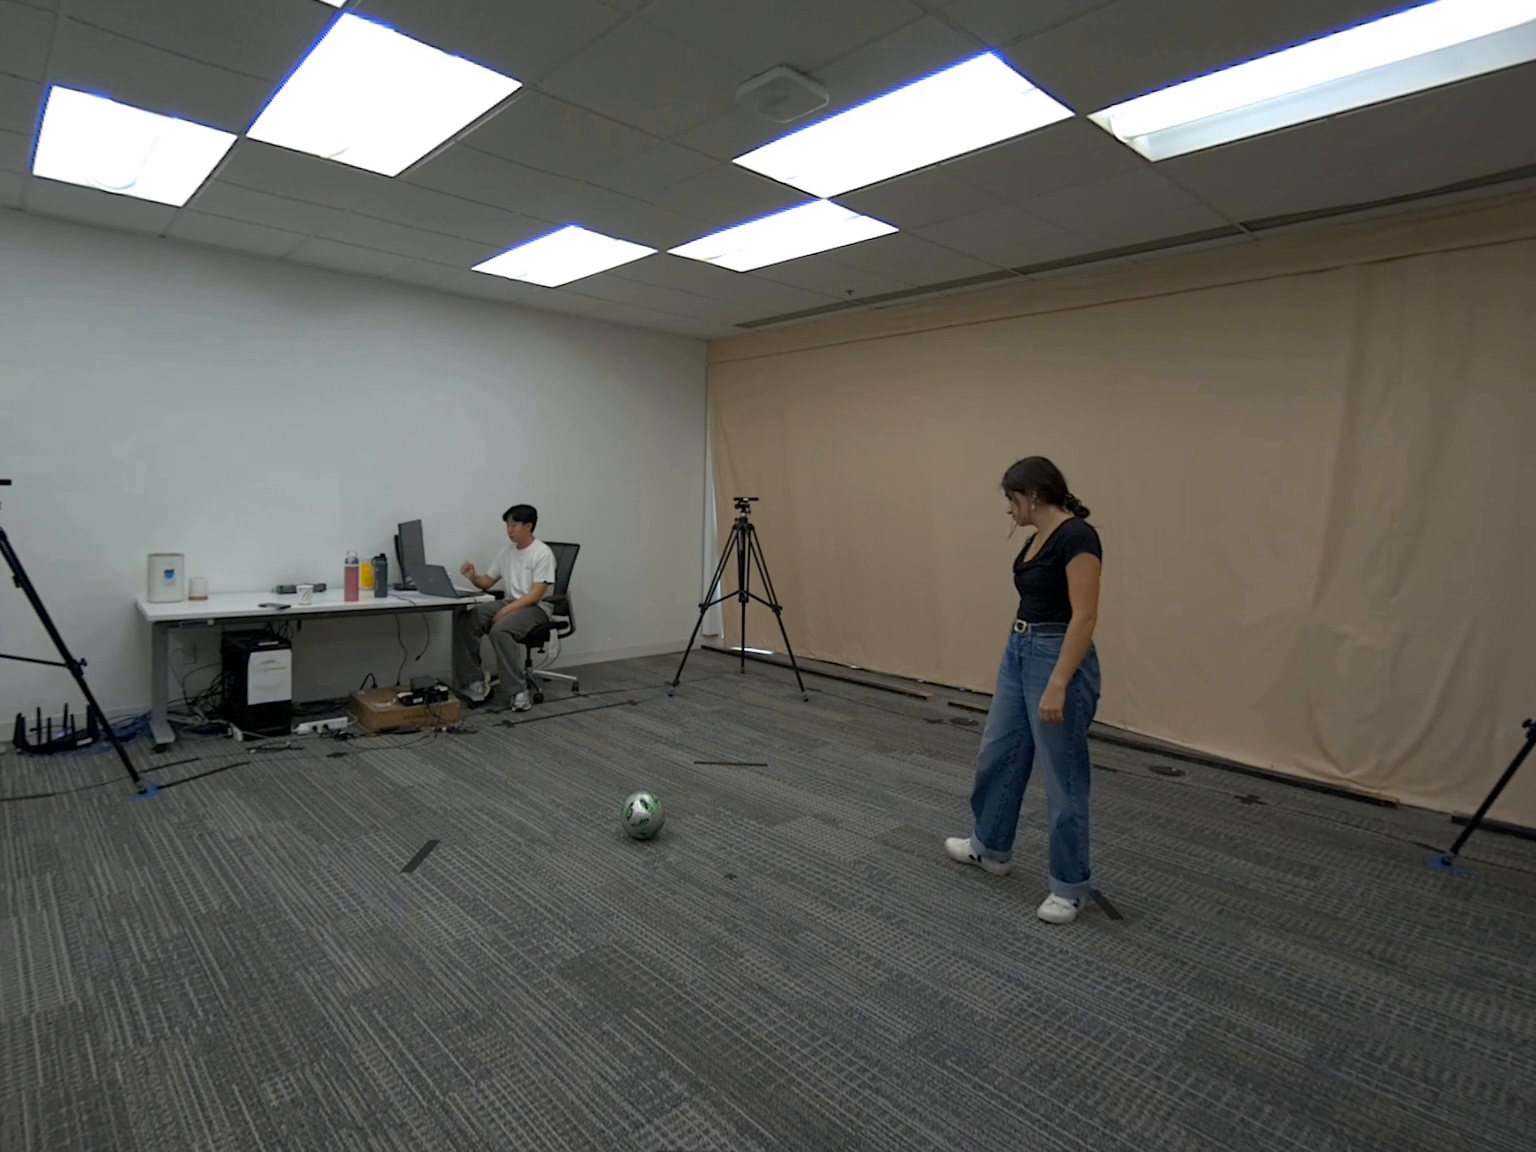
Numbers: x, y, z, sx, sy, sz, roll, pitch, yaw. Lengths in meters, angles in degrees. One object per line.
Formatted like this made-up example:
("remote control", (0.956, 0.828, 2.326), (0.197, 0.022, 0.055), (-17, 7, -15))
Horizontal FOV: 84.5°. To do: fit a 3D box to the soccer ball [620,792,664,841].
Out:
("soccer ball", (-0.514, 0.967, 3.437), (0.187, 0.187, 0.188), (1, 4, -1))
